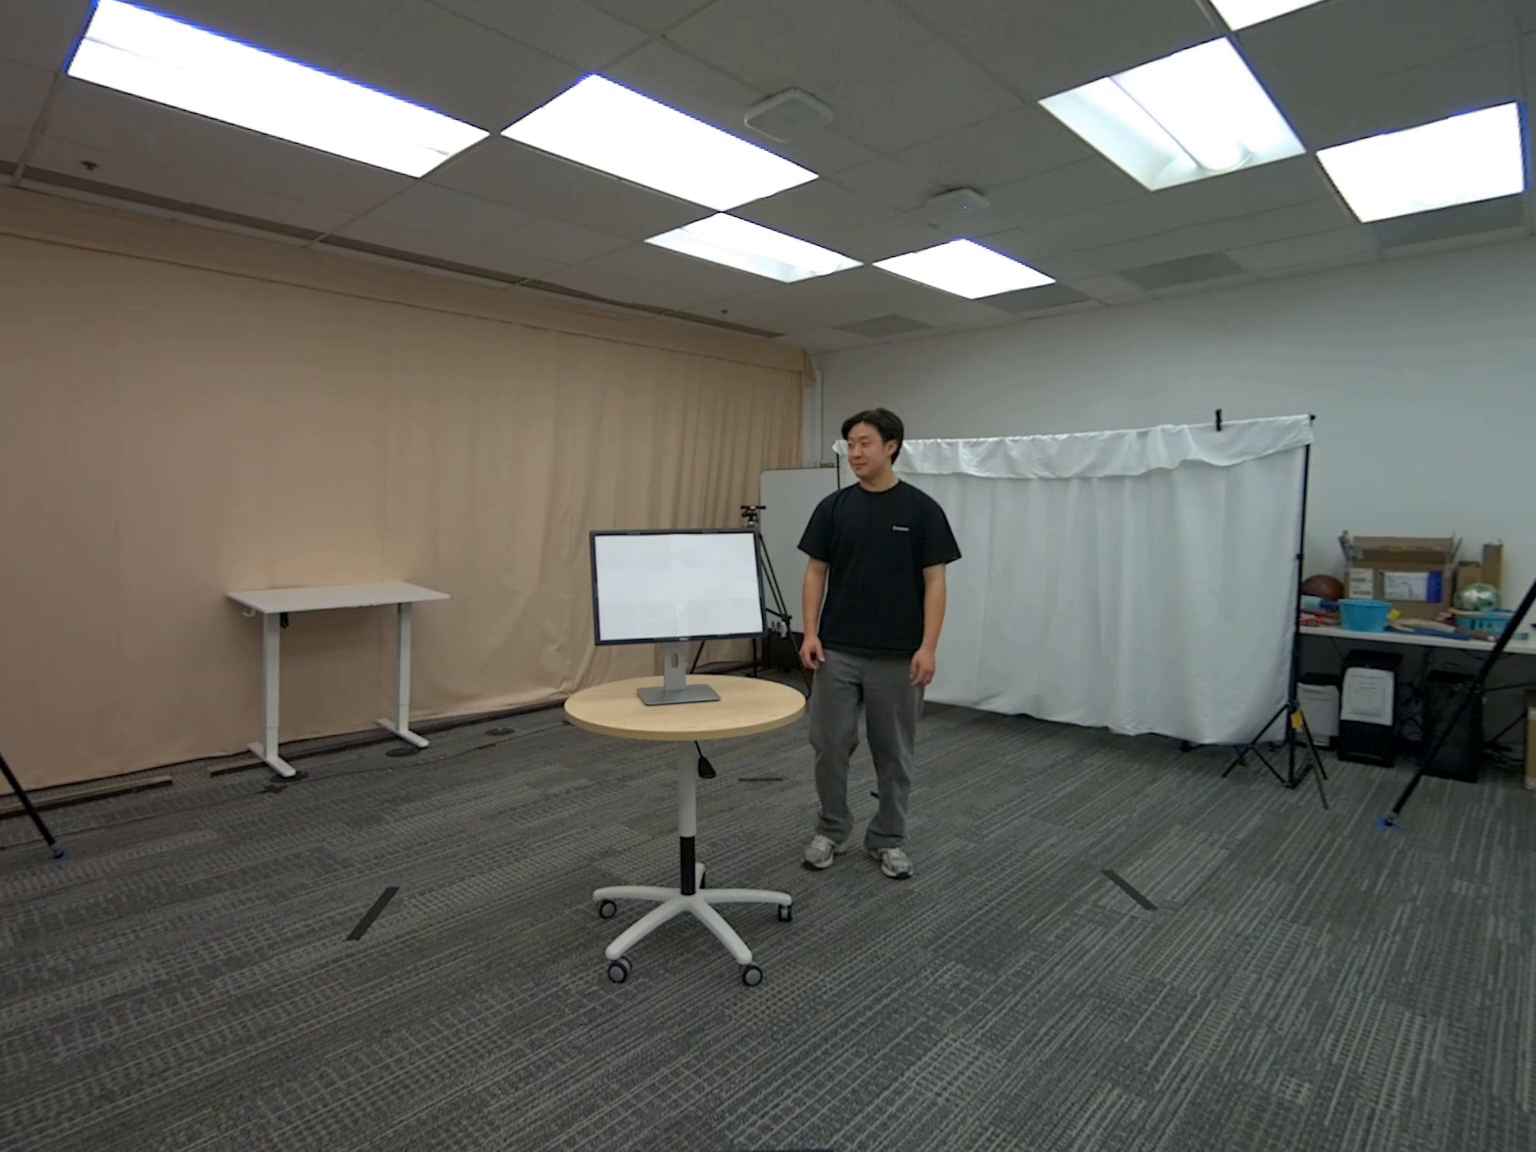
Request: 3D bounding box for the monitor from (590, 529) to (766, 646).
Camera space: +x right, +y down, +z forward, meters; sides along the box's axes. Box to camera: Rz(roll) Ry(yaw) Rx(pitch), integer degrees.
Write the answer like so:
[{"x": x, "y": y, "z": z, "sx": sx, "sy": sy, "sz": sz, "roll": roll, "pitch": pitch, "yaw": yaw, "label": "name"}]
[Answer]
[{"x": -0.291, "y": 0.131, "z": 2.710, "sx": 0.554, "sy": 0.564, "sz": 0.226, "roll": -2, "pitch": 4, "yaw": -13, "label": "monitor"}]
